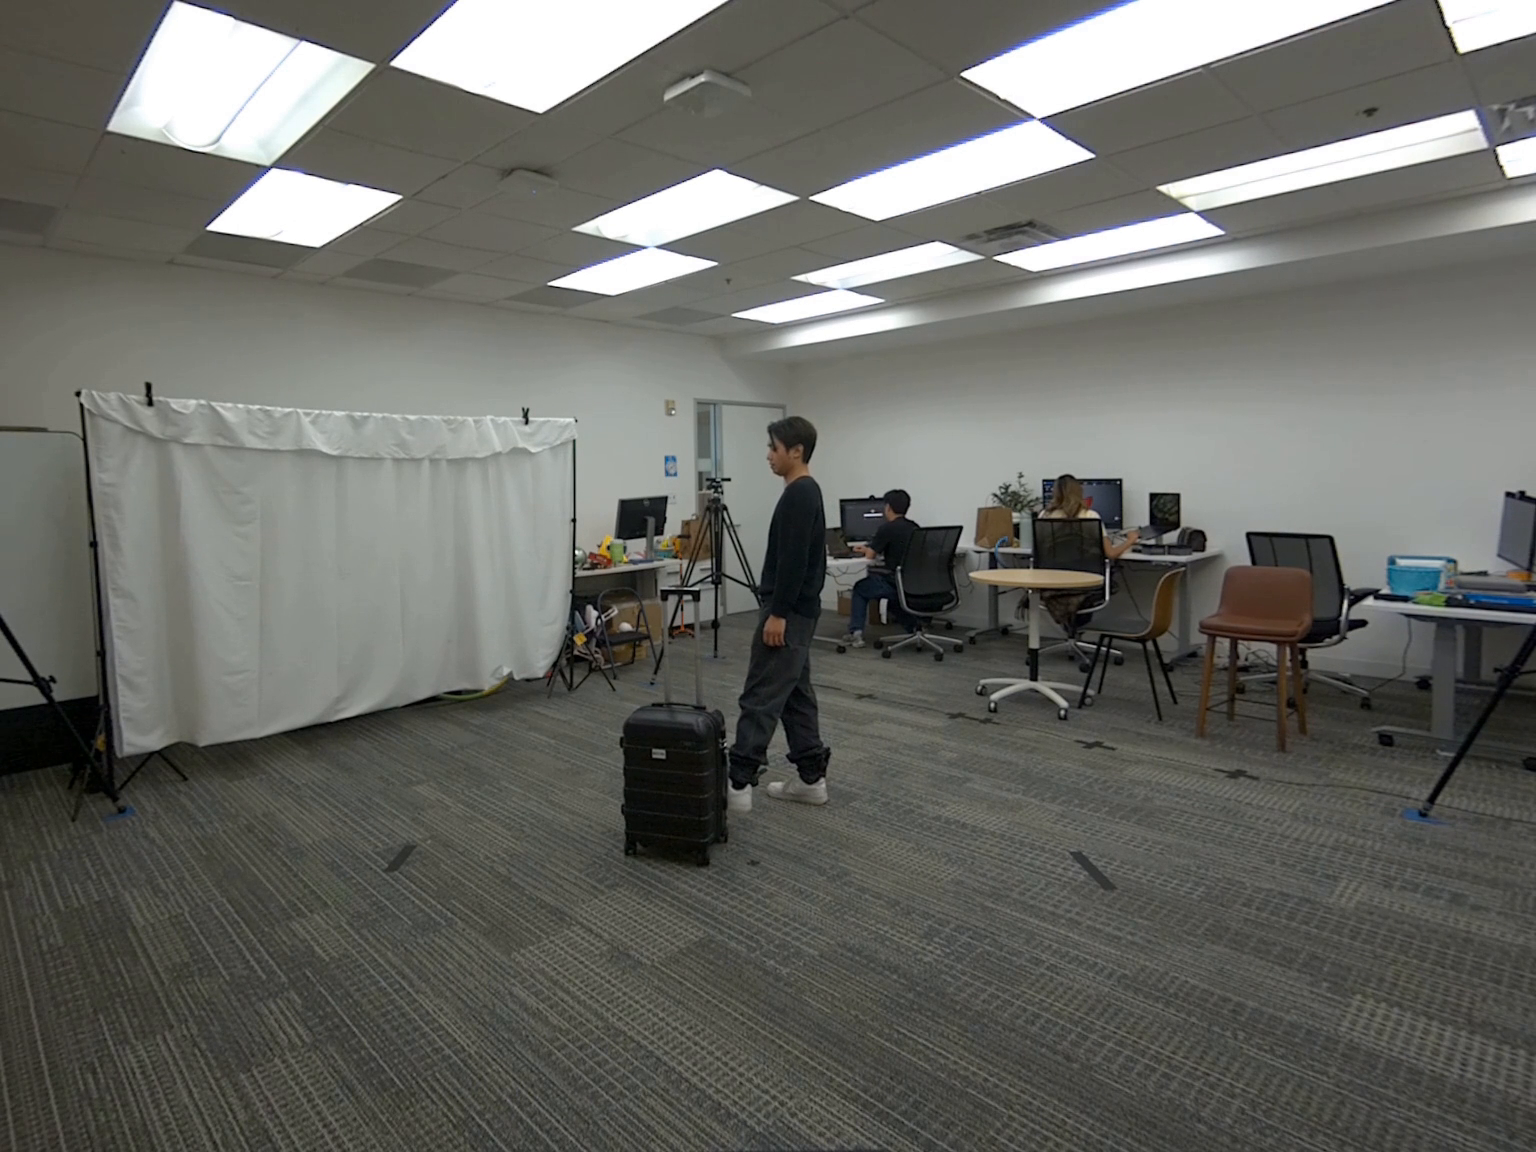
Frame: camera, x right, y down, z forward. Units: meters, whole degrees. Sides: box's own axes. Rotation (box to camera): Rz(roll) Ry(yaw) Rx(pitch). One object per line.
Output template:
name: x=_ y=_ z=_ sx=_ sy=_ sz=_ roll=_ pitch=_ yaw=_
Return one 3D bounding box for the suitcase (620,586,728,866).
suitcase: x=-0.352 y=0.559 z=3.178 sx=0.390 sy=0.973 sz=0.254 roll=1 pitch=6 yaw=17
